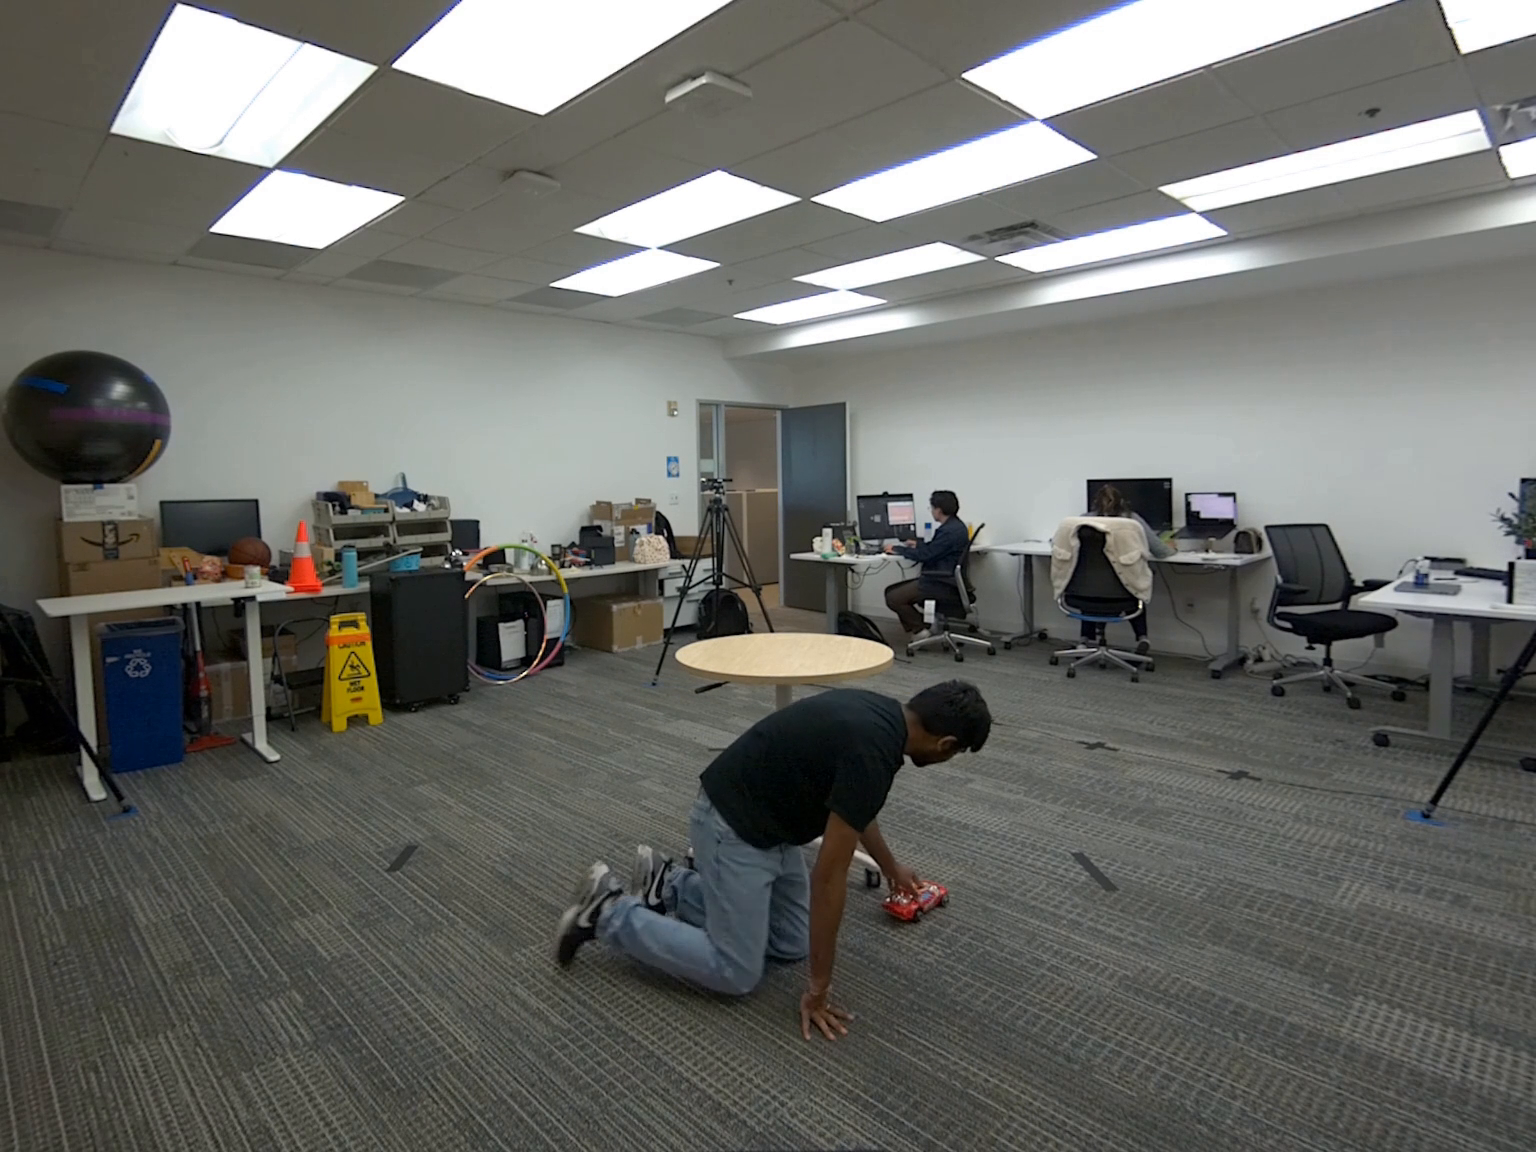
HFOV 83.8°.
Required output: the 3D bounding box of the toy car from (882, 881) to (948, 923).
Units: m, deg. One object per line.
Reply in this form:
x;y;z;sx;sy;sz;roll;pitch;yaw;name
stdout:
0.462;1.040;2.739;0.246;0.083;0.134;7;-1;-42;toy car
